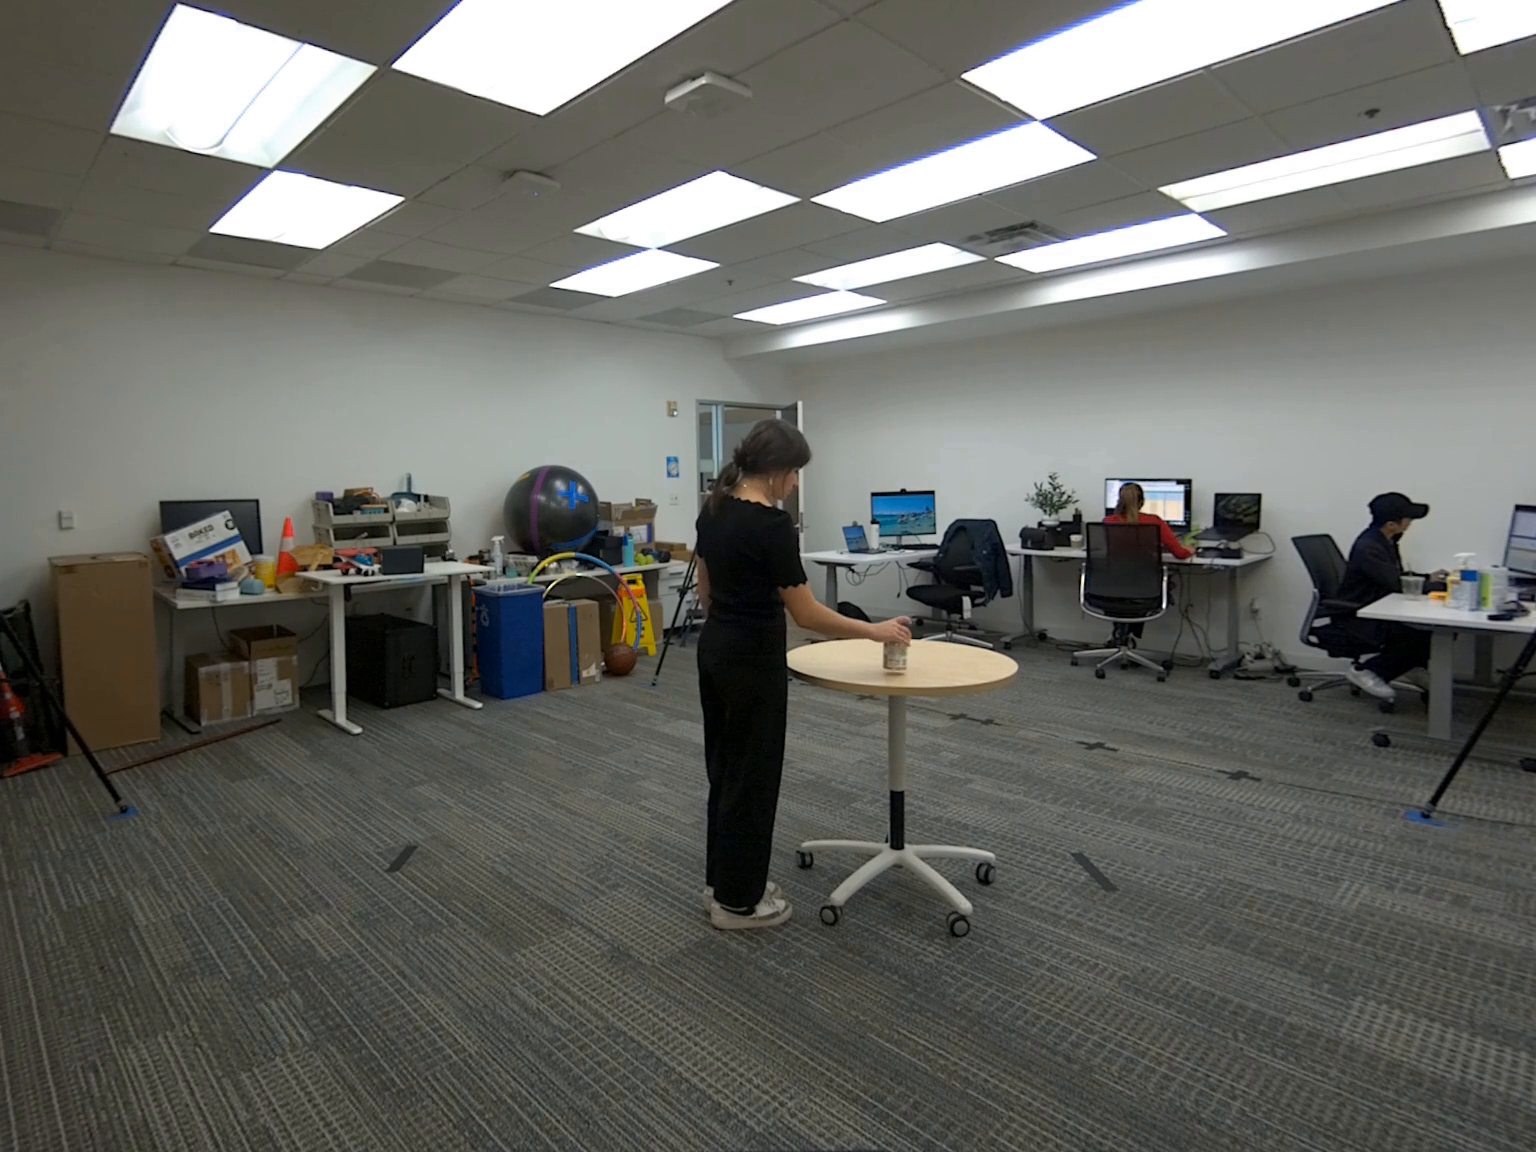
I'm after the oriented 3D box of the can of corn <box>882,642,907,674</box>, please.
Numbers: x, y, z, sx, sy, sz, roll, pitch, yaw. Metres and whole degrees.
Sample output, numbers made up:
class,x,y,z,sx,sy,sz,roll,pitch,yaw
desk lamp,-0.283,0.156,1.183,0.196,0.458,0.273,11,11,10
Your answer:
class,x,y,z,sx,sy,sz,roll,pitch,yaw
can of corn,0.398,0.232,2.652,0.074,0.110,0.074,-3,5,-1
